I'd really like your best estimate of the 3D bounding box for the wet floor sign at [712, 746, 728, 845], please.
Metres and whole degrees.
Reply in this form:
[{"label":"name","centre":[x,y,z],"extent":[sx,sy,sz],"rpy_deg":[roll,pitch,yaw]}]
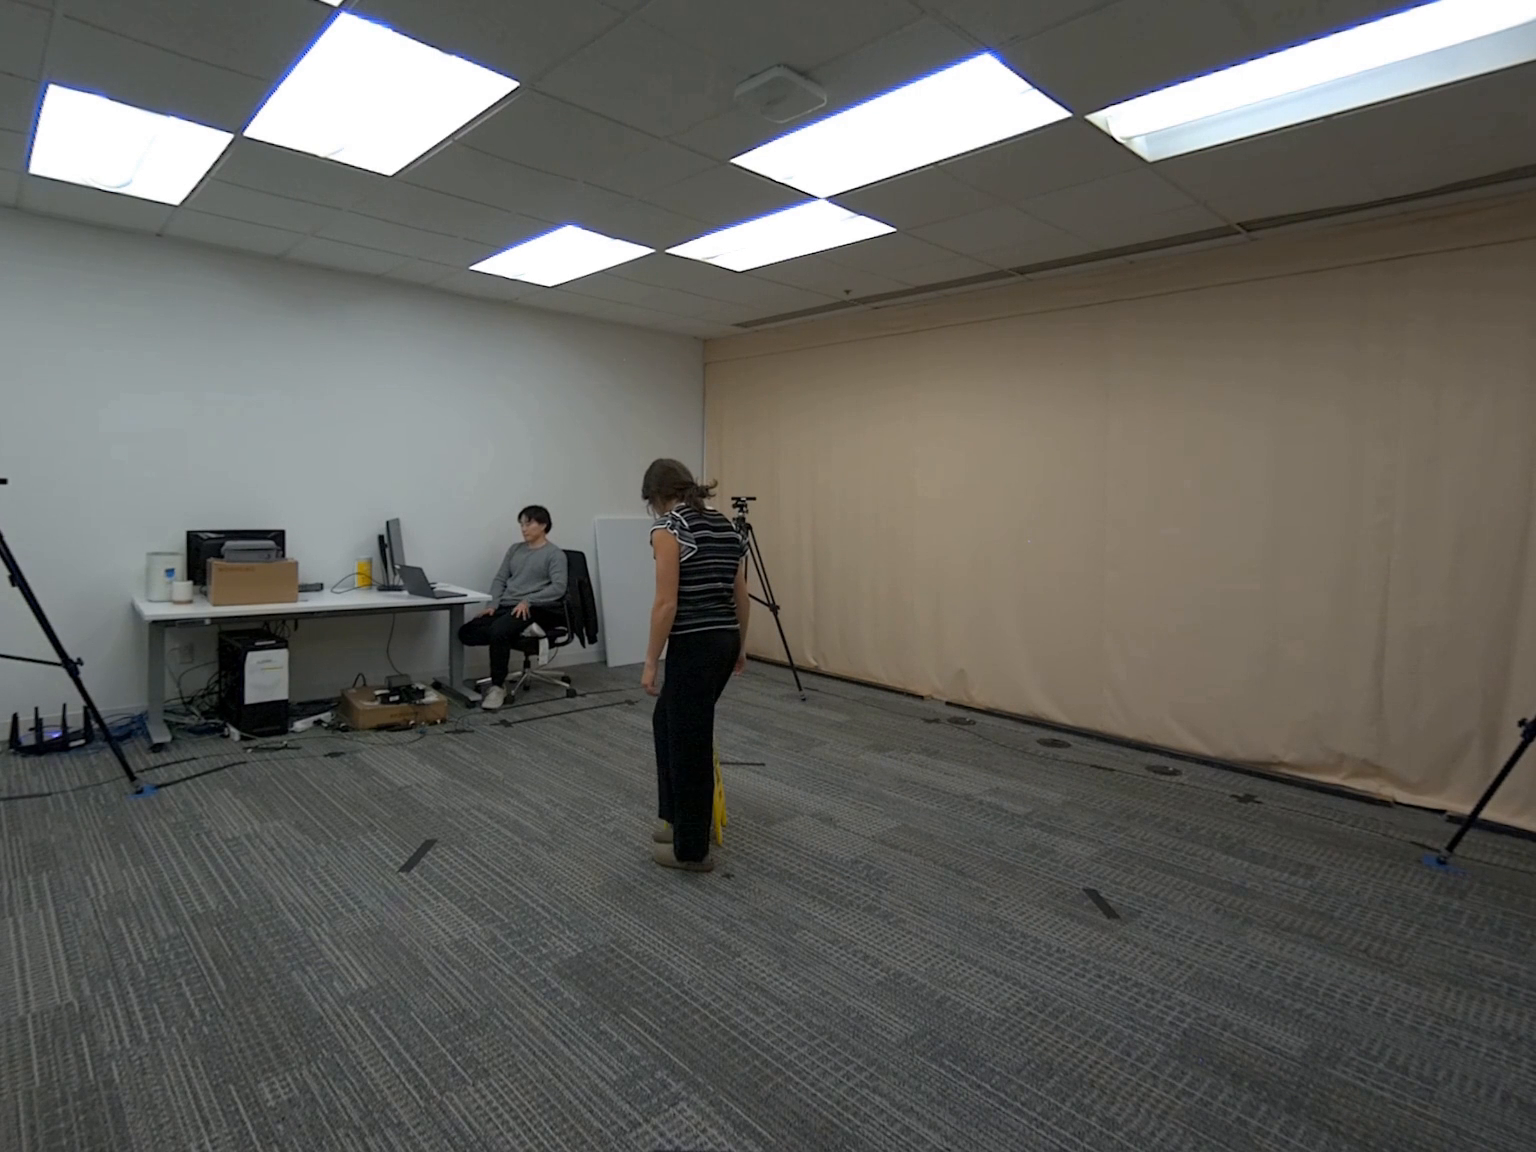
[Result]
[{"label":"wet floor sign","centre":[-0.298,0.748,3.501],"extent":[0.290,0.644,0.282],"rpy_deg":[3,4,3]}]
